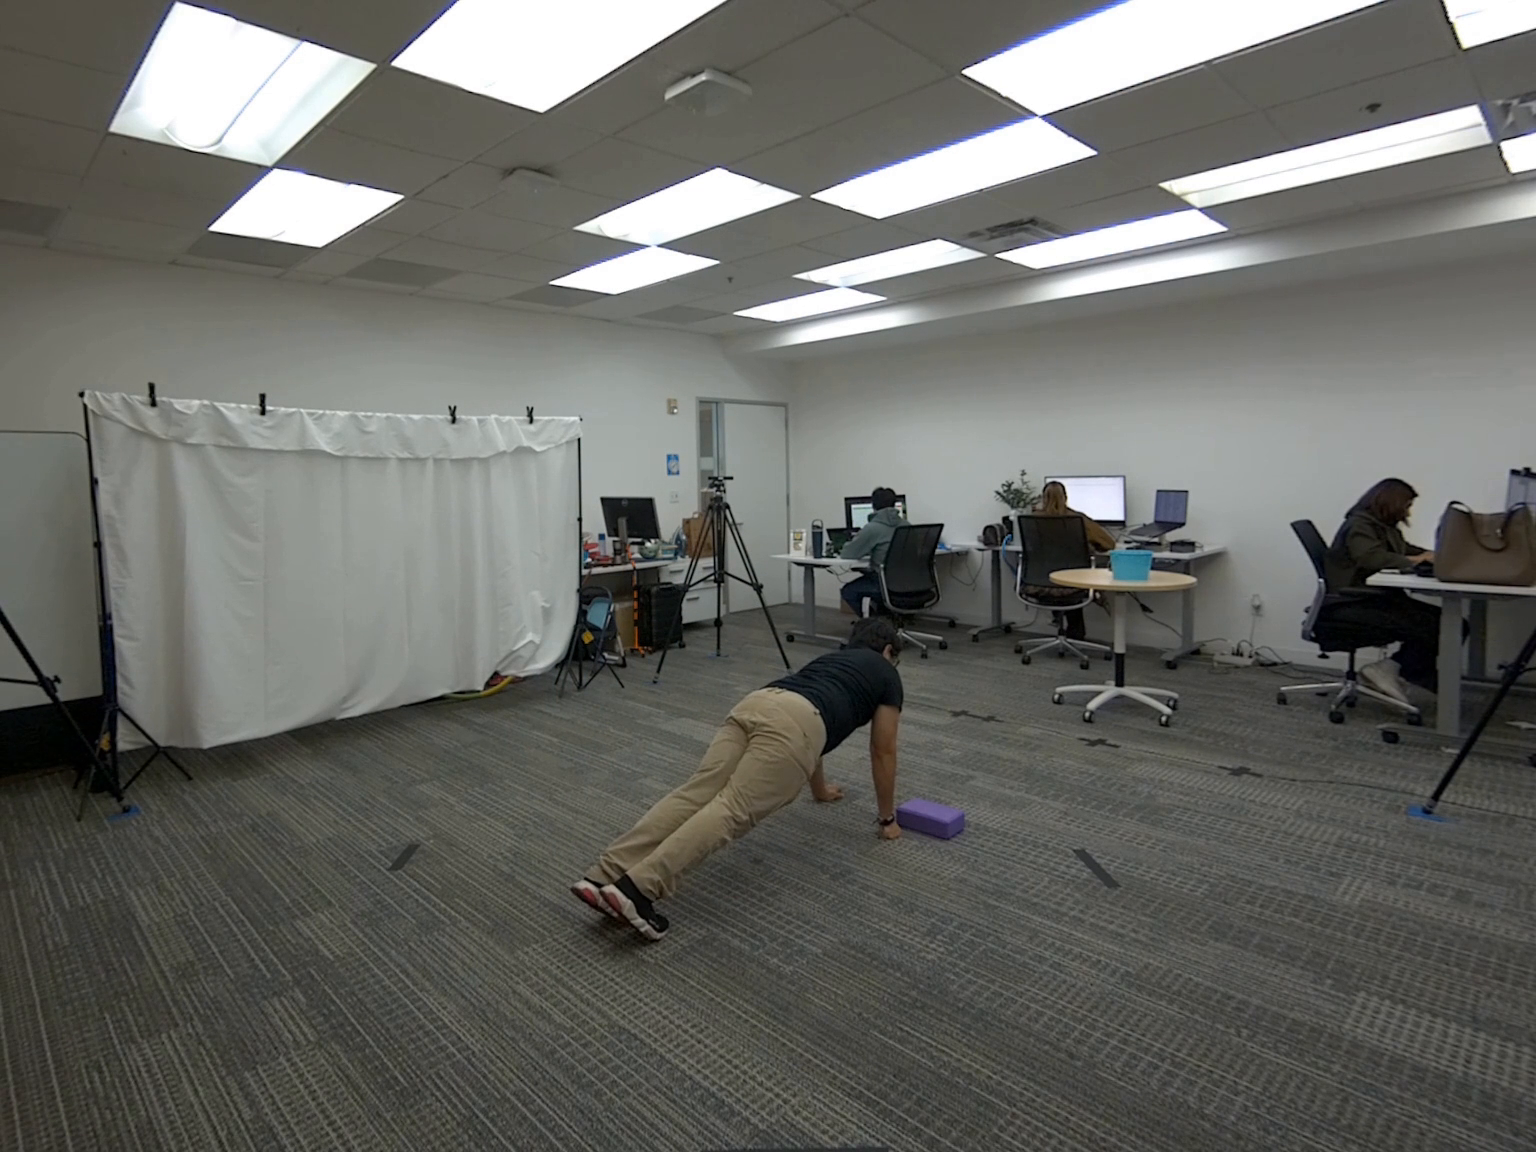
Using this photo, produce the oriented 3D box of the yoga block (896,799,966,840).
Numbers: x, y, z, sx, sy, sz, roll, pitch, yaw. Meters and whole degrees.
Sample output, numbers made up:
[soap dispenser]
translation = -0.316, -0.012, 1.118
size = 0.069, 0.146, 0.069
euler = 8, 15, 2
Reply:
[yoga block]
translation = 0.642, 0.952, 3.373
size = 0.236, 0.076, 0.145
euler = 4, 7, 42
